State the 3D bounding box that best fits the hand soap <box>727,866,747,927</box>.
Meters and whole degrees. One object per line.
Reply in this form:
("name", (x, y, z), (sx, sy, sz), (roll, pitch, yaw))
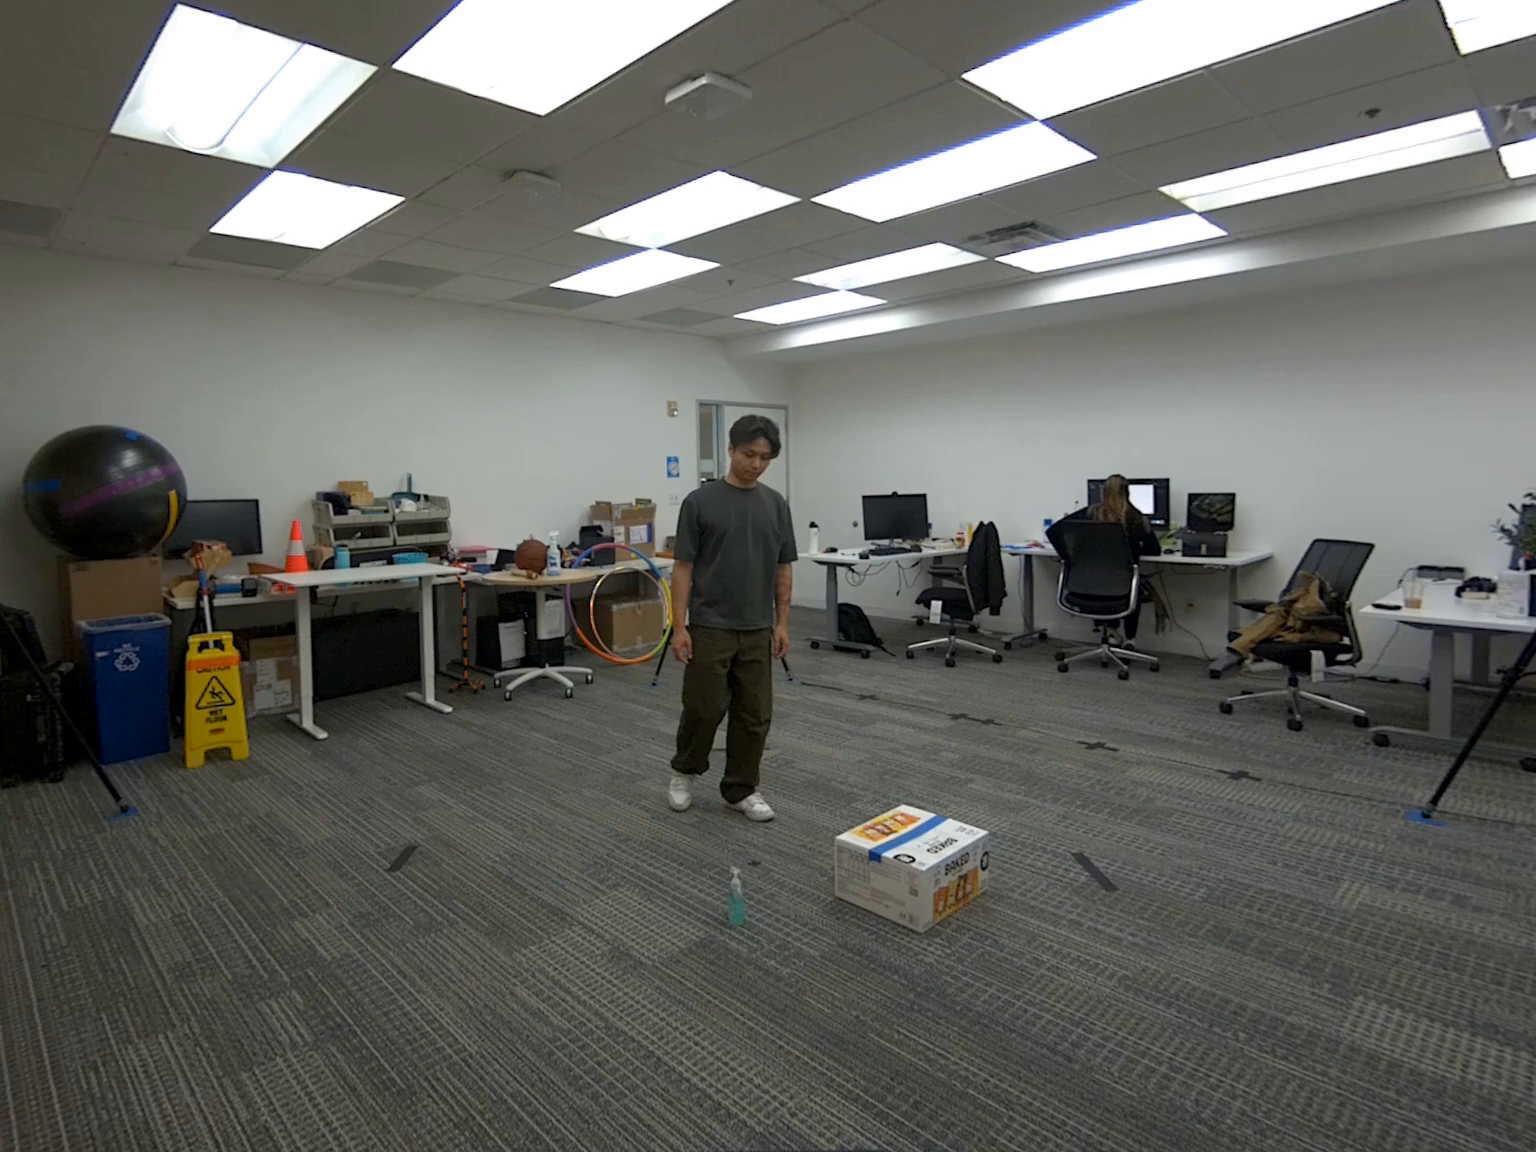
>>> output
("hand soap", (-0.102, 1.019, 2.701), (0.042, 0.167, 0.087), (-6, 8, -22))
